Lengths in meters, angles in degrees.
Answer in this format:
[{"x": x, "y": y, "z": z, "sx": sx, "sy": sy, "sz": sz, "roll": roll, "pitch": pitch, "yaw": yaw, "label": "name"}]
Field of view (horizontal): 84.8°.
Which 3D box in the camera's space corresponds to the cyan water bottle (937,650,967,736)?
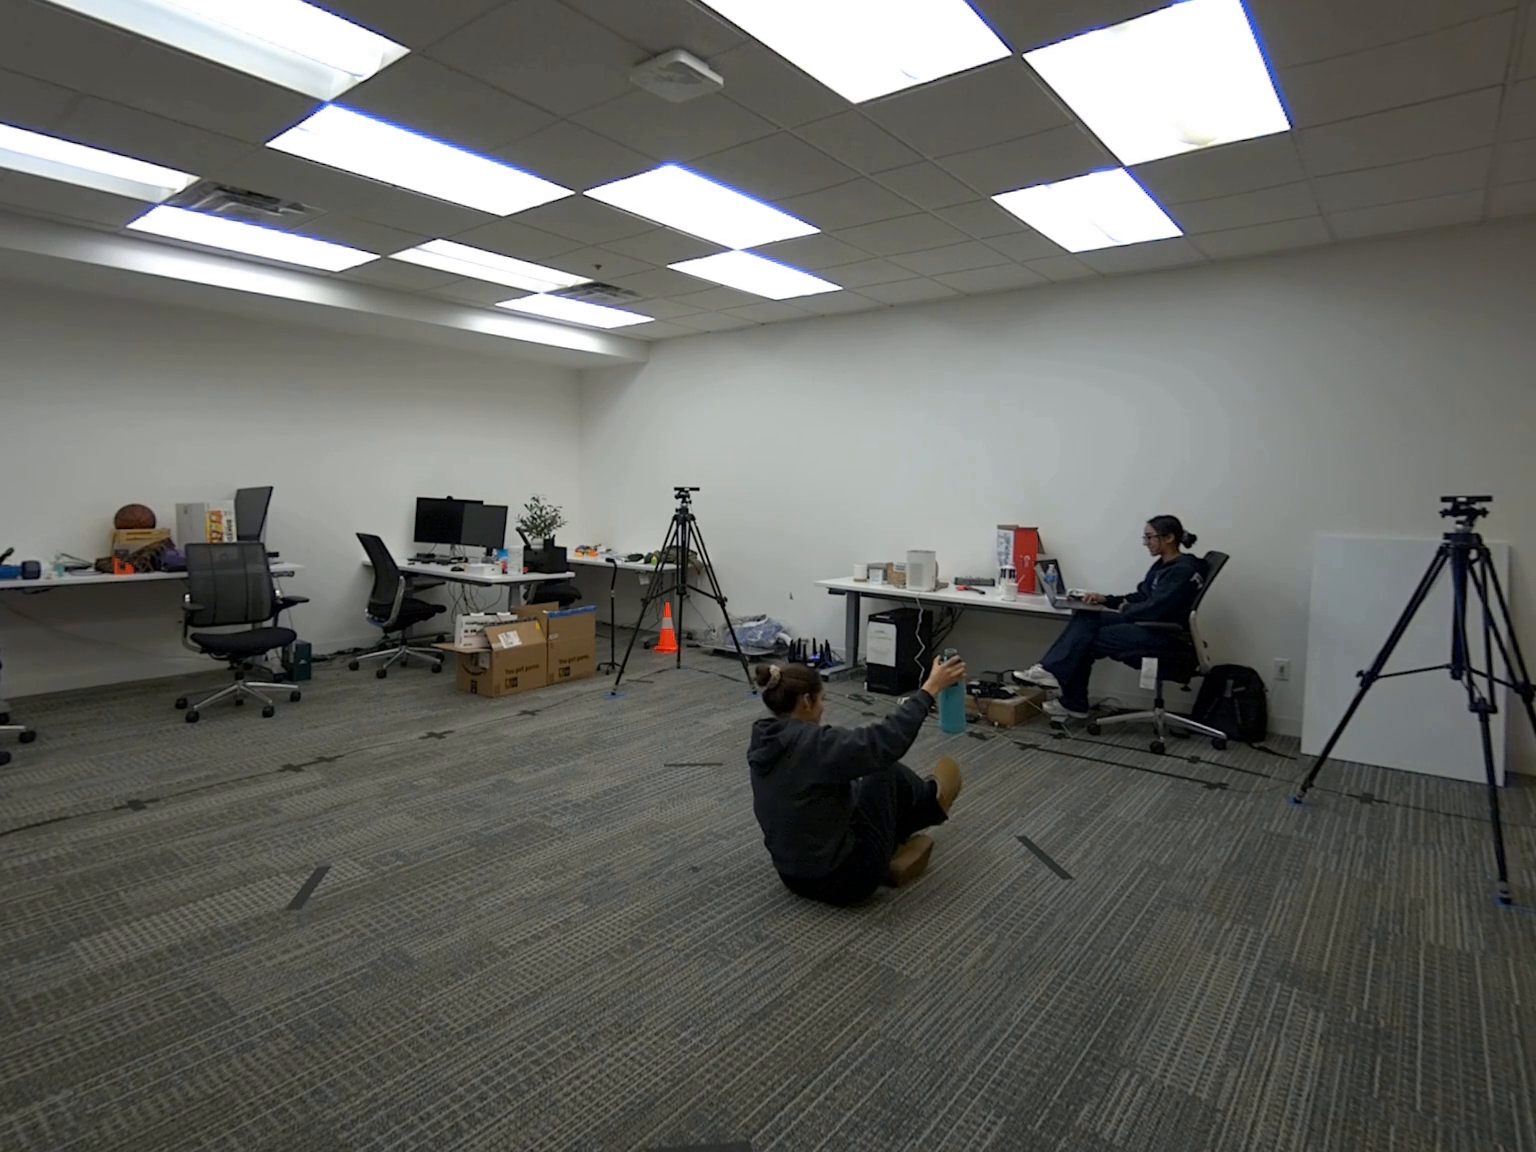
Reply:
[{"x": 0.640, "y": 0.396, "z": 2.941, "sx": 0.092, "sy": 0.280, "sz": 0.093, "roll": -3, "pitch": 12, "yaw": -1, "label": "cyan water bottle"}]
